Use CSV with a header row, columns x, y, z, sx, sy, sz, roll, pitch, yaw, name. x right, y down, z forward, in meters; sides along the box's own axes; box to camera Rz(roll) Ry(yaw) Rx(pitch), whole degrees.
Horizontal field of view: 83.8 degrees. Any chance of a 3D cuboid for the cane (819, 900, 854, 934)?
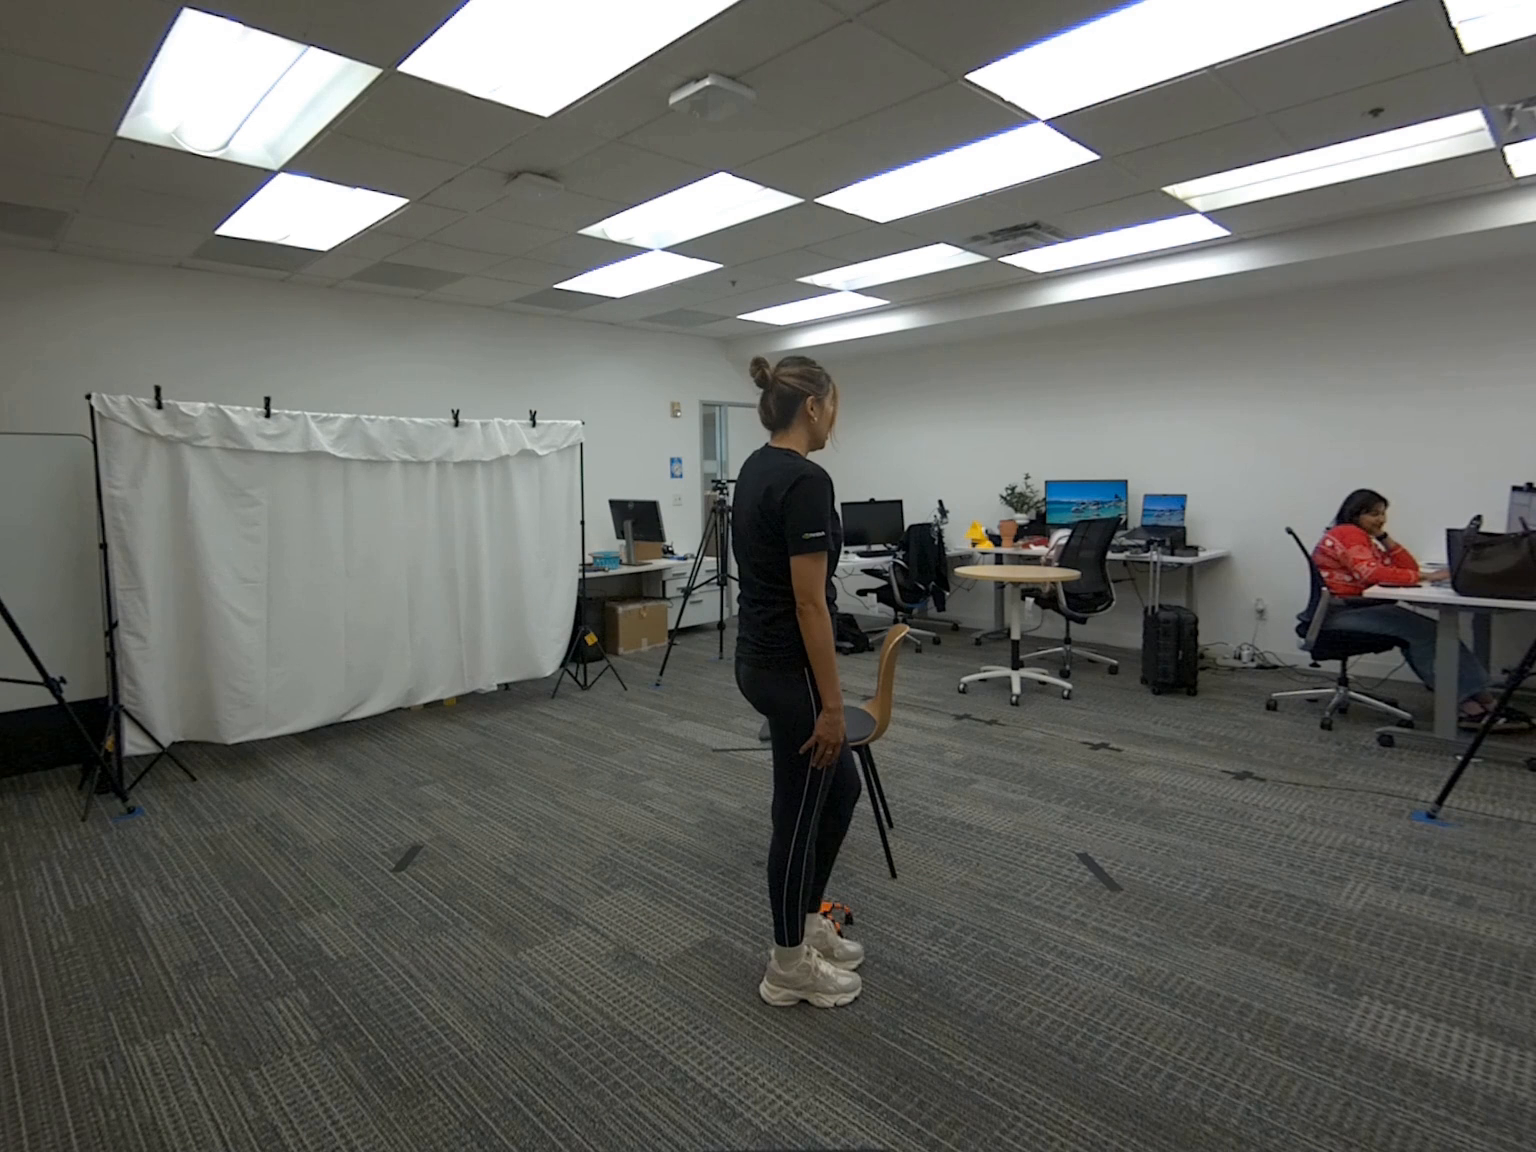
x,y,z,sx,sy,sz,roll,pitch,yaw,name
0.151,0.651,2.633,0.210,0.905,0.149,-1,3,17,cane
